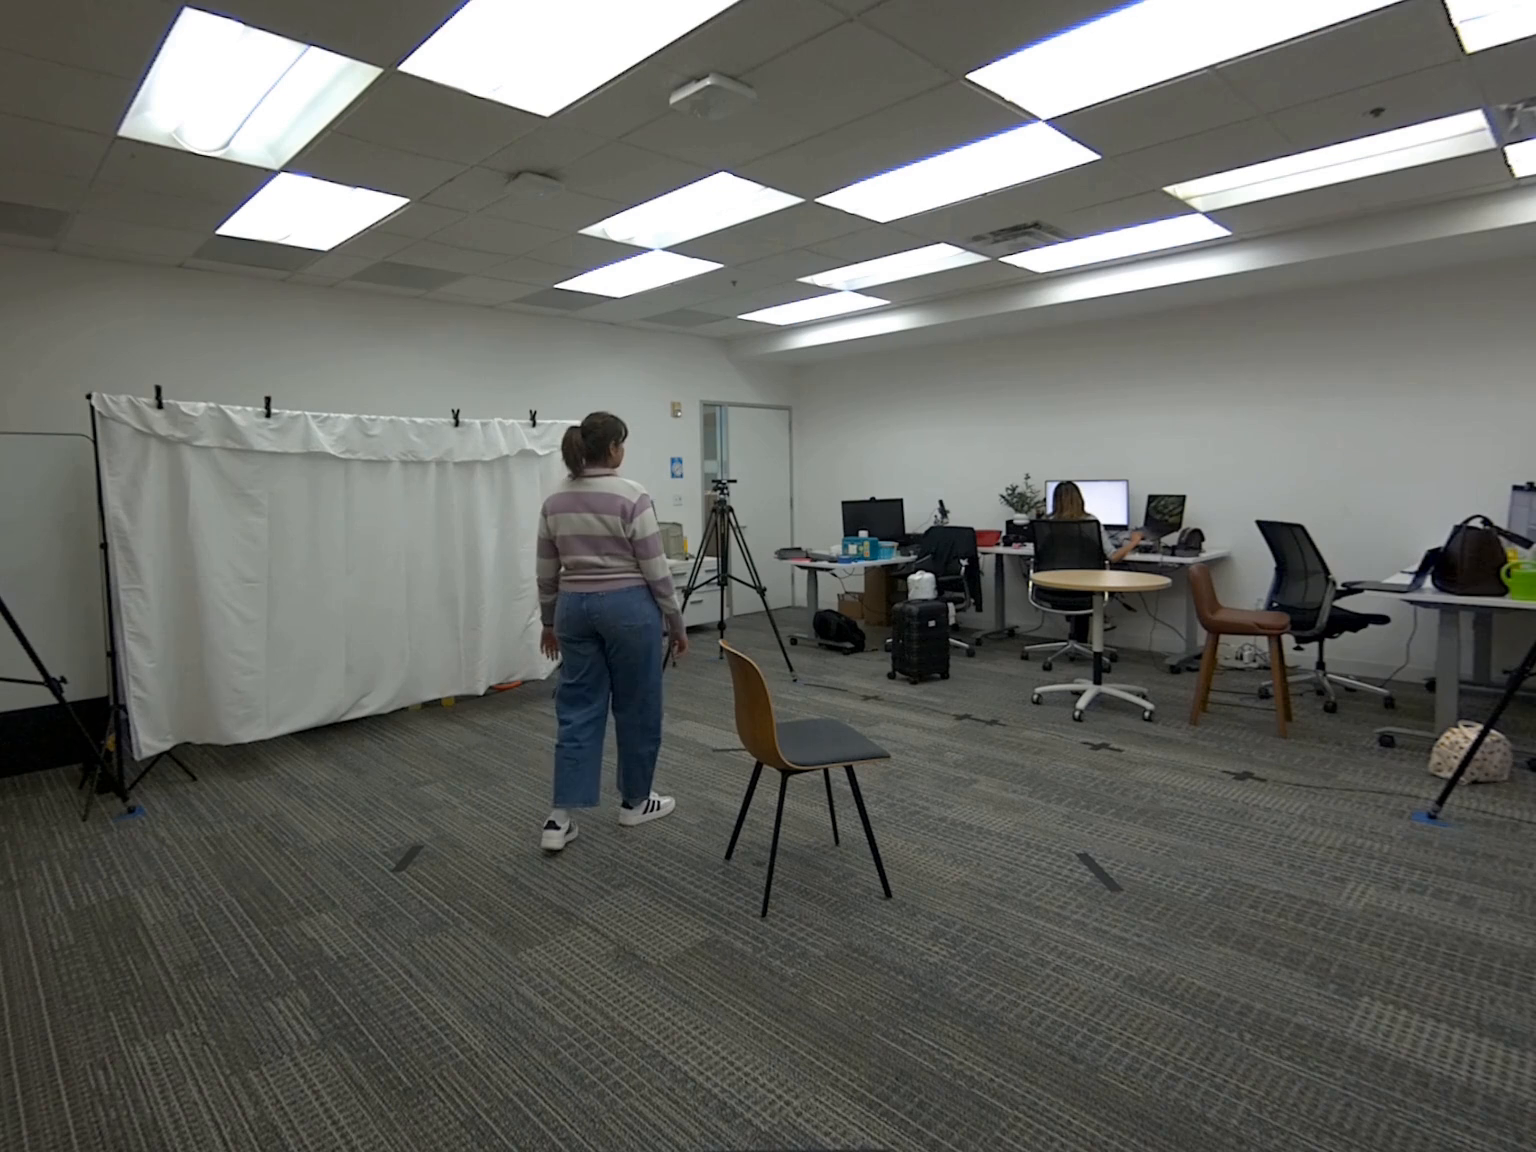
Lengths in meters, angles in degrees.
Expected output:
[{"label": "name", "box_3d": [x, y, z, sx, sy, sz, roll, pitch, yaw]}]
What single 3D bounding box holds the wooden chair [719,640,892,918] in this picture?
[{"label": "wooden chair", "box_3d": [0.128, 0.632, 2.964, 0.516, 0.873, 0.487, -6, 5, -16]}]
